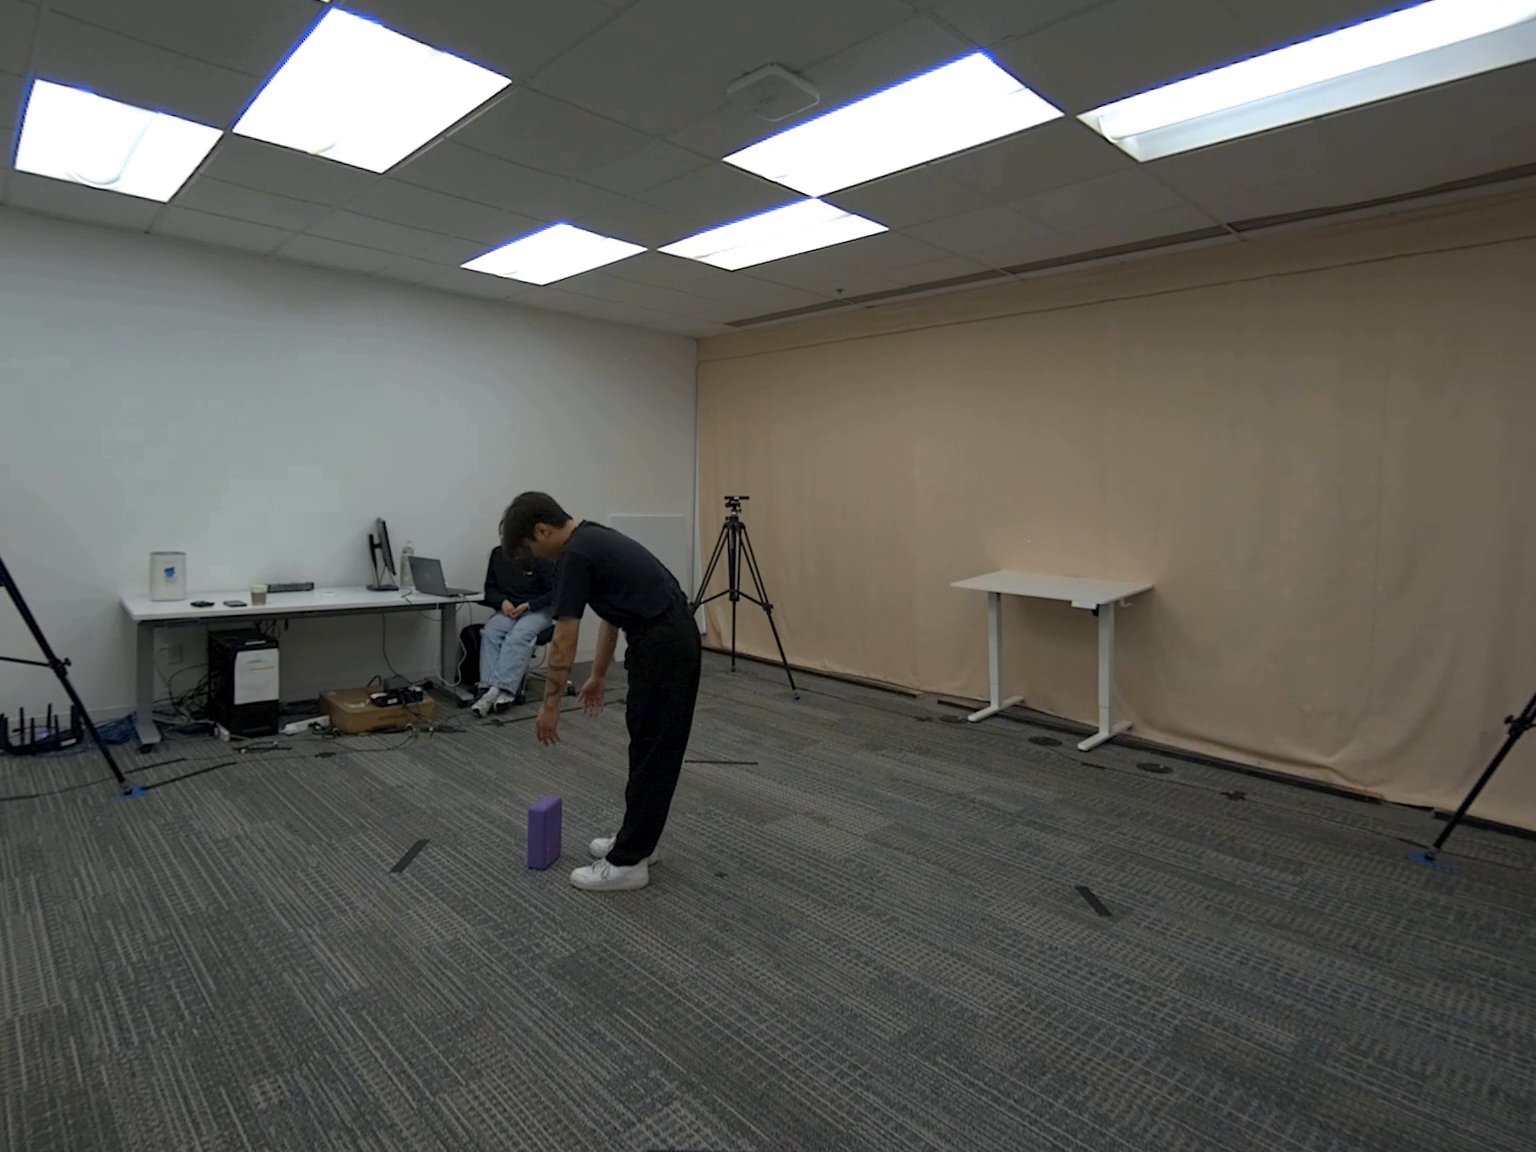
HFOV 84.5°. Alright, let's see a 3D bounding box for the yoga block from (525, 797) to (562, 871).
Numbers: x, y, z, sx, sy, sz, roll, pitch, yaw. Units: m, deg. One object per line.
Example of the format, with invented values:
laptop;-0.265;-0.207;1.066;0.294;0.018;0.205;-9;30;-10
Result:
yoga block;-0.841;0.966;3.170;0.077;0.229;0.148;0;3;10
